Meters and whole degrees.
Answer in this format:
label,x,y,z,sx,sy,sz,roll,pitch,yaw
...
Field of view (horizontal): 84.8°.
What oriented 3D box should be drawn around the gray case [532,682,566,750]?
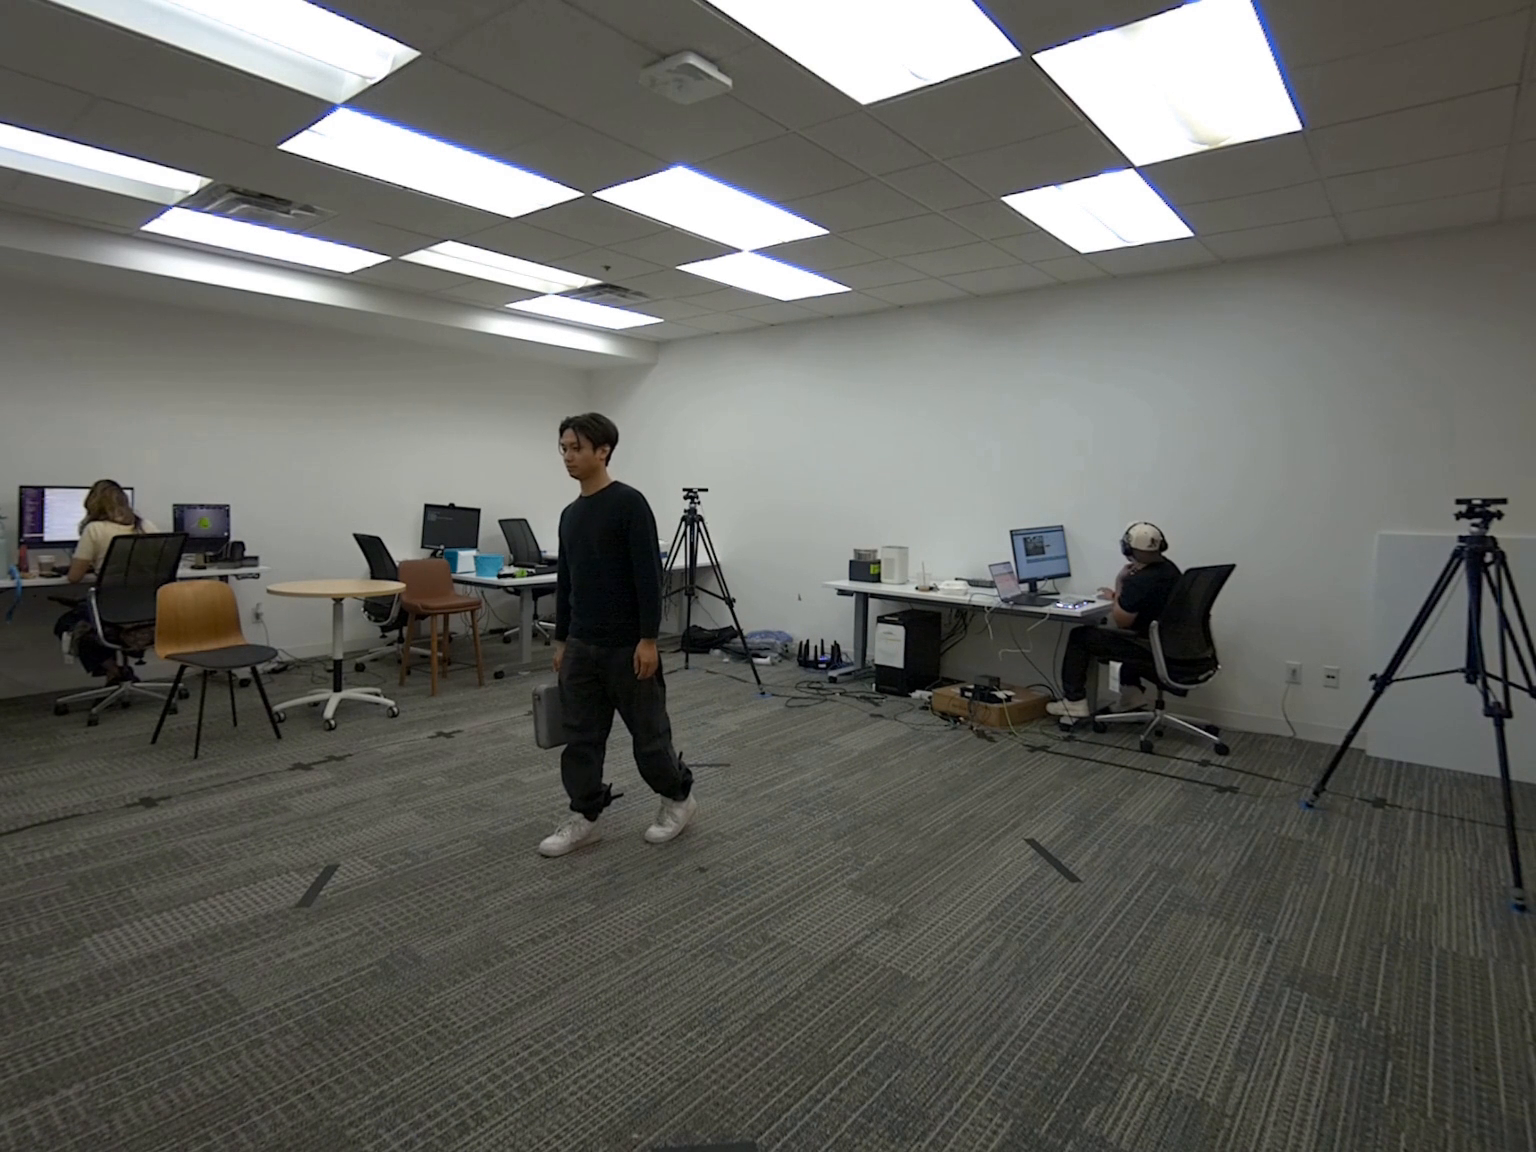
label,x,y,z,sx,sy,sz,roll,pitch,yaw
gray case,-0.830,0.543,3.448,0.249,0.261,0.107,-6,0,-42
